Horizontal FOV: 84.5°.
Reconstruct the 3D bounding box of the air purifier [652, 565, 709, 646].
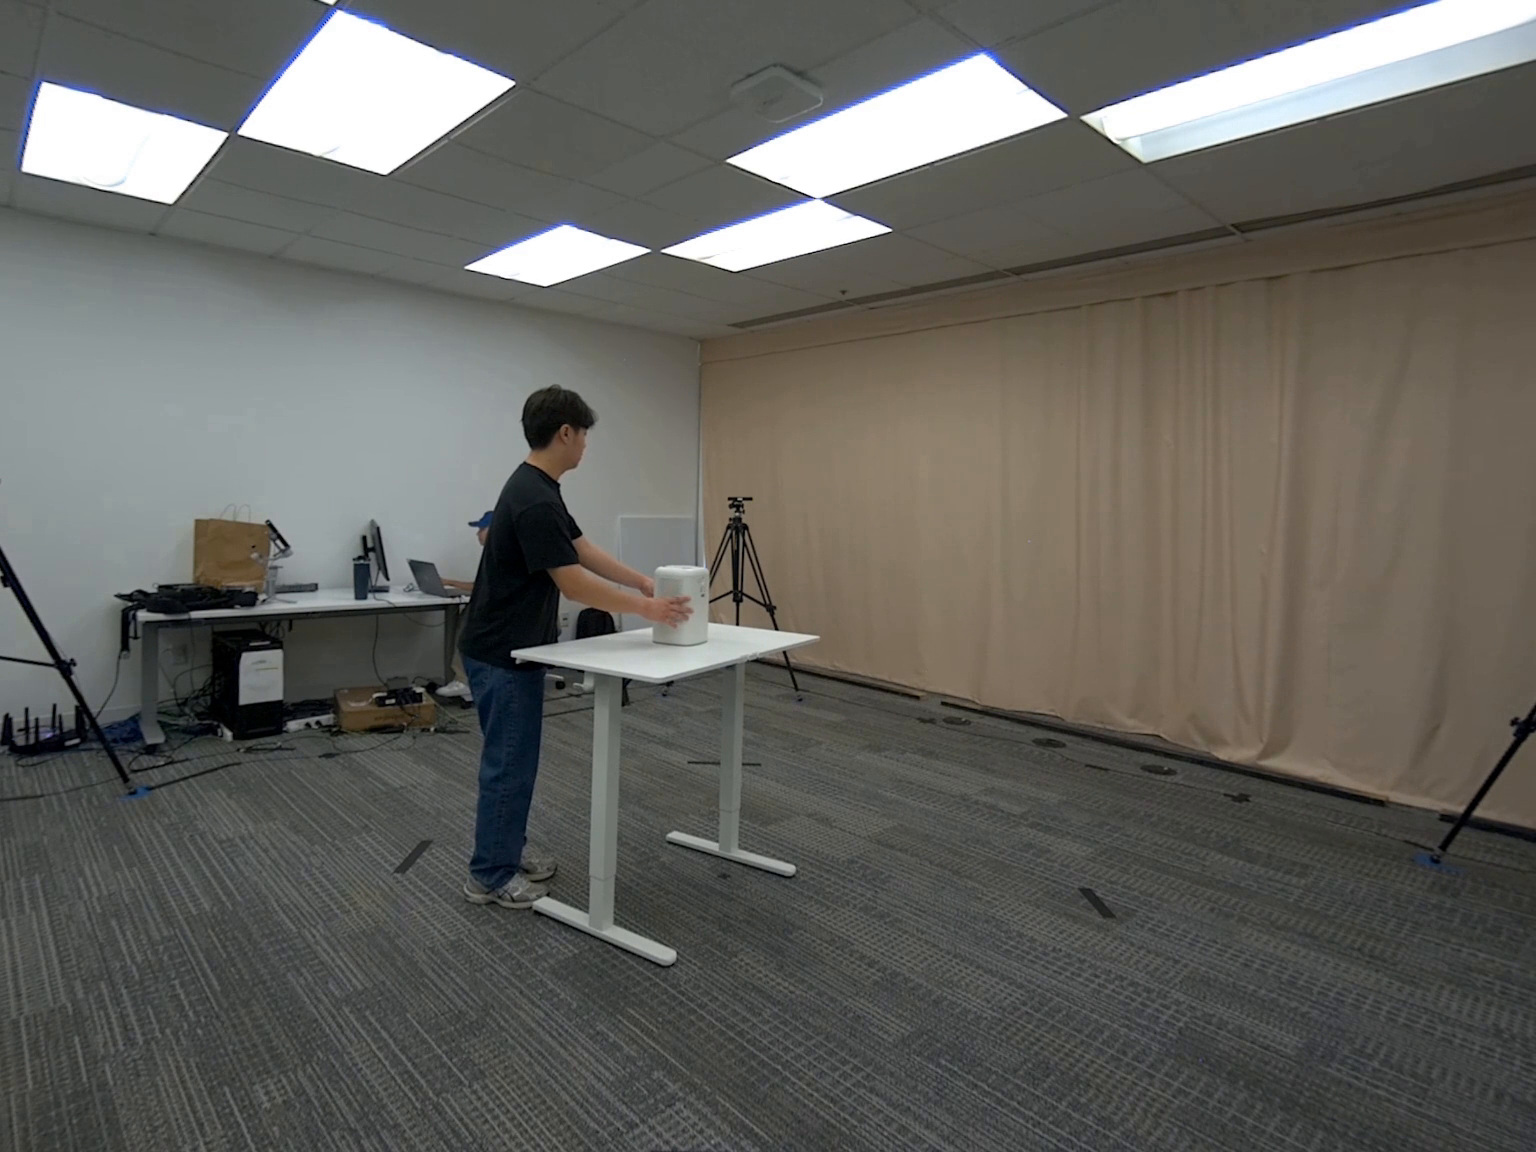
[{"bbox_3d":[-0.317,0.098,2.964,0.175,0.264,0.168,4,4,23],"label":"air purifier"}]
